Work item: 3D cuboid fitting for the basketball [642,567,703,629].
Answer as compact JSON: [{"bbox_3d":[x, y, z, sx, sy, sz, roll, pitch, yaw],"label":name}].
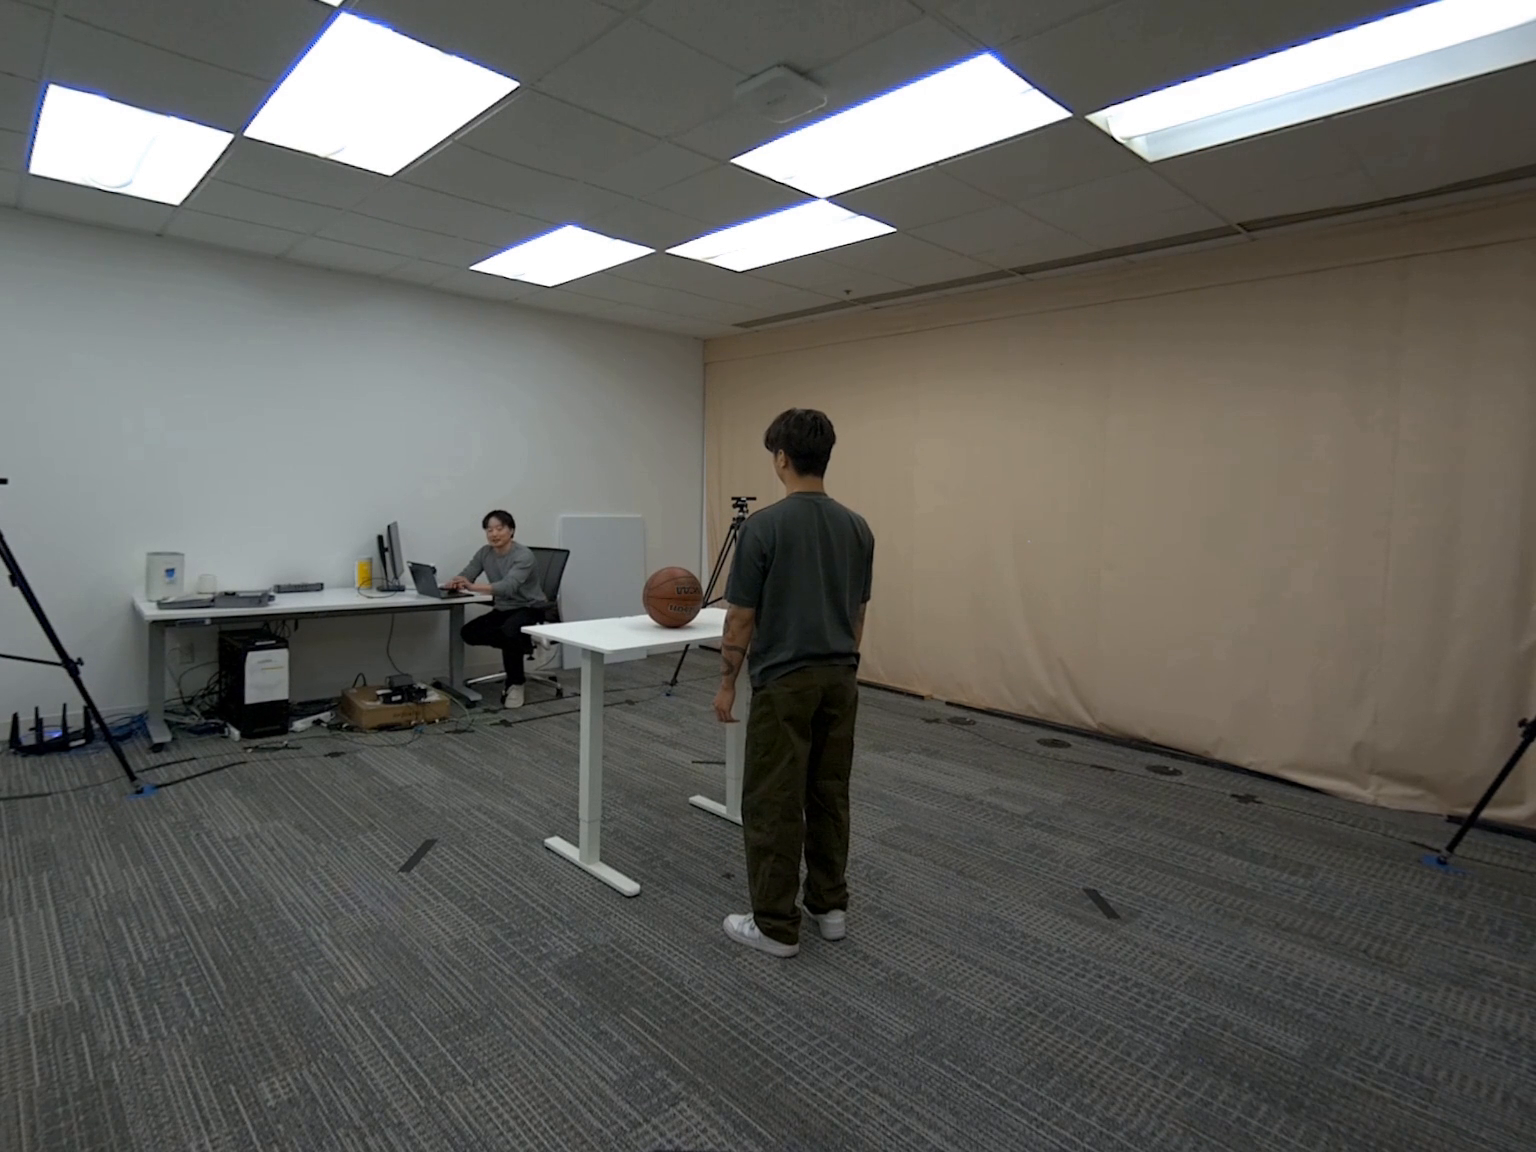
[{"bbox_3d":[-0.379,0.084,3.307,0.236,0.235,0.237,1,4,-1],"label":"basketball"}]
